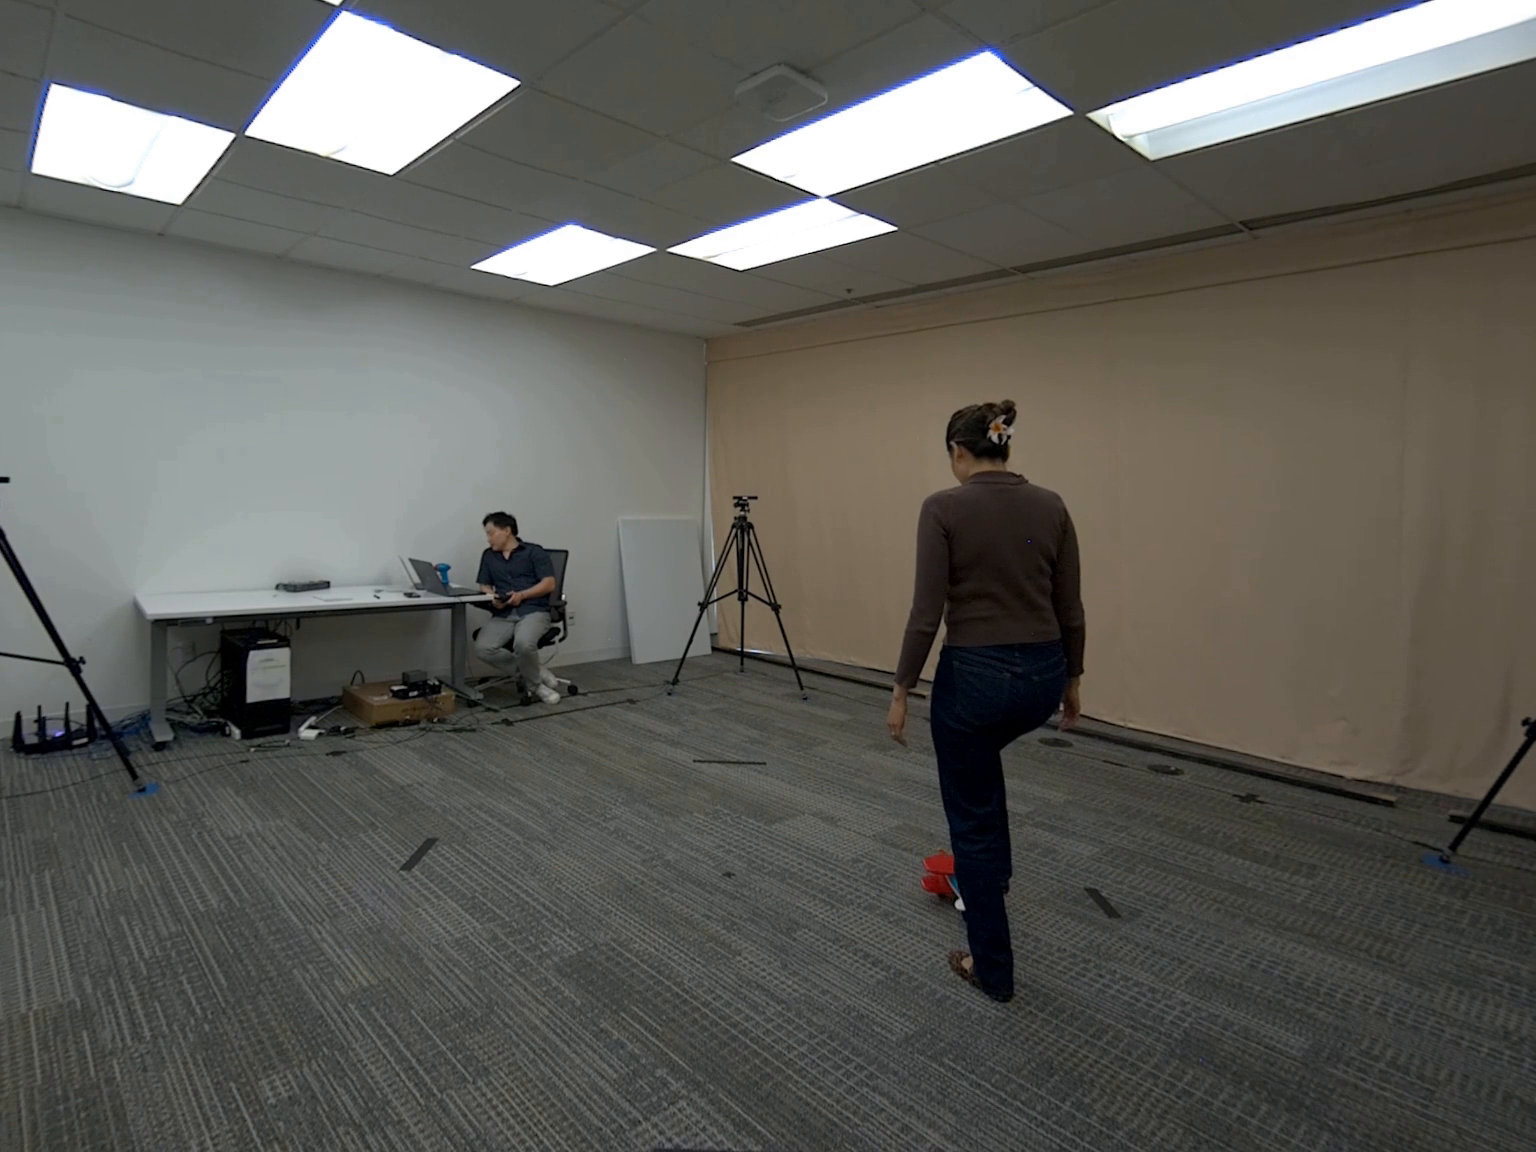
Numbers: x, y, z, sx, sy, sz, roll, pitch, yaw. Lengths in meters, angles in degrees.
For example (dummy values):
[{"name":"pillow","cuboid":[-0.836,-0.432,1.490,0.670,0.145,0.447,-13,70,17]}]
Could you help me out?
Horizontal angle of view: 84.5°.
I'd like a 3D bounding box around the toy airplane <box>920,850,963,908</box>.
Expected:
[{"name":"toy airplane","cuboid":[0.683,1.073,2.899,0.246,0.156,0.266,-1,6,-34]}]
